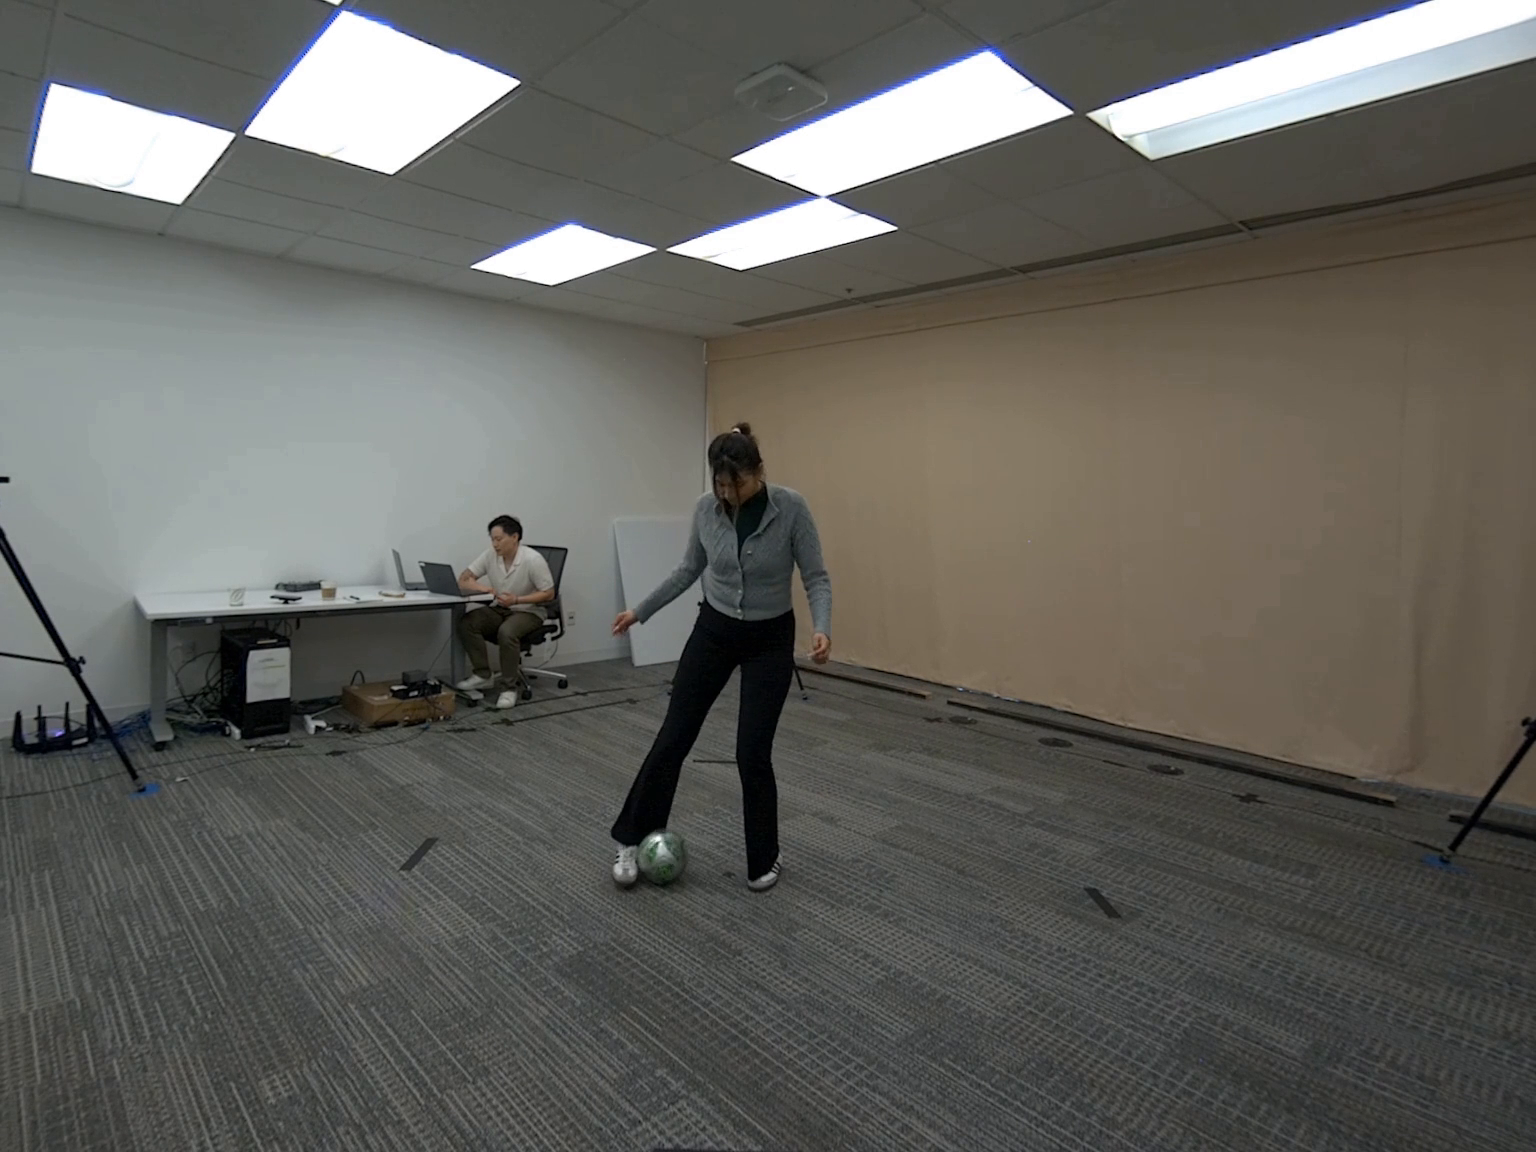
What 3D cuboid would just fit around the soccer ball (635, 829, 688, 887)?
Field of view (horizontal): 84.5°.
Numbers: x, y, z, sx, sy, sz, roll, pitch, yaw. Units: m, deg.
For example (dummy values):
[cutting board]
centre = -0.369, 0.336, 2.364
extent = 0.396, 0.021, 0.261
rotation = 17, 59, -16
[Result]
[soccer ball]
centre = -0.374, 1.005, 3.031
extent = 0.187, 0.187, 0.188
rotation = 1, 4, -1
